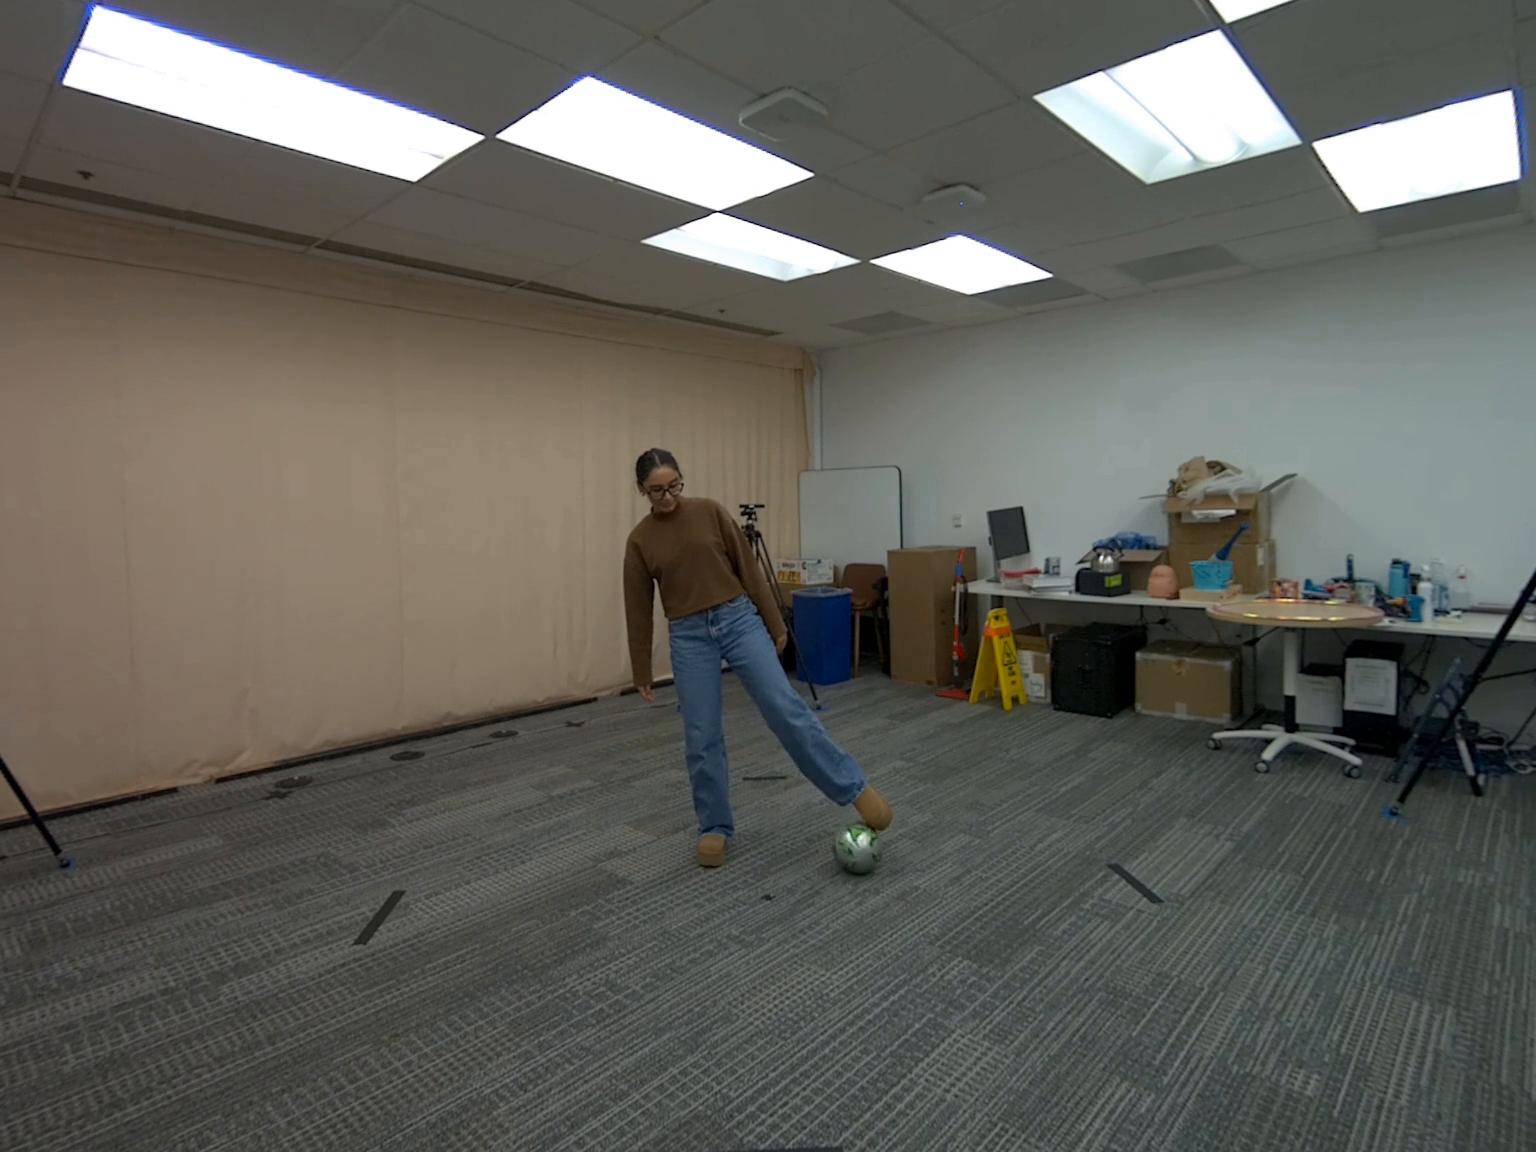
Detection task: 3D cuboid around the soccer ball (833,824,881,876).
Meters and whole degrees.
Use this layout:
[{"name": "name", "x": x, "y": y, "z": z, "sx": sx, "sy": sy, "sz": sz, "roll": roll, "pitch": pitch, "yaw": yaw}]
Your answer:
[{"name": "soccer ball", "x": 0.329, "y": 1.023, "z": 3.172, "sx": 0.187, "sy": 0.187, "sz": 0.188, "roll": -1, "pitch": 4, "yaw": -2}]
